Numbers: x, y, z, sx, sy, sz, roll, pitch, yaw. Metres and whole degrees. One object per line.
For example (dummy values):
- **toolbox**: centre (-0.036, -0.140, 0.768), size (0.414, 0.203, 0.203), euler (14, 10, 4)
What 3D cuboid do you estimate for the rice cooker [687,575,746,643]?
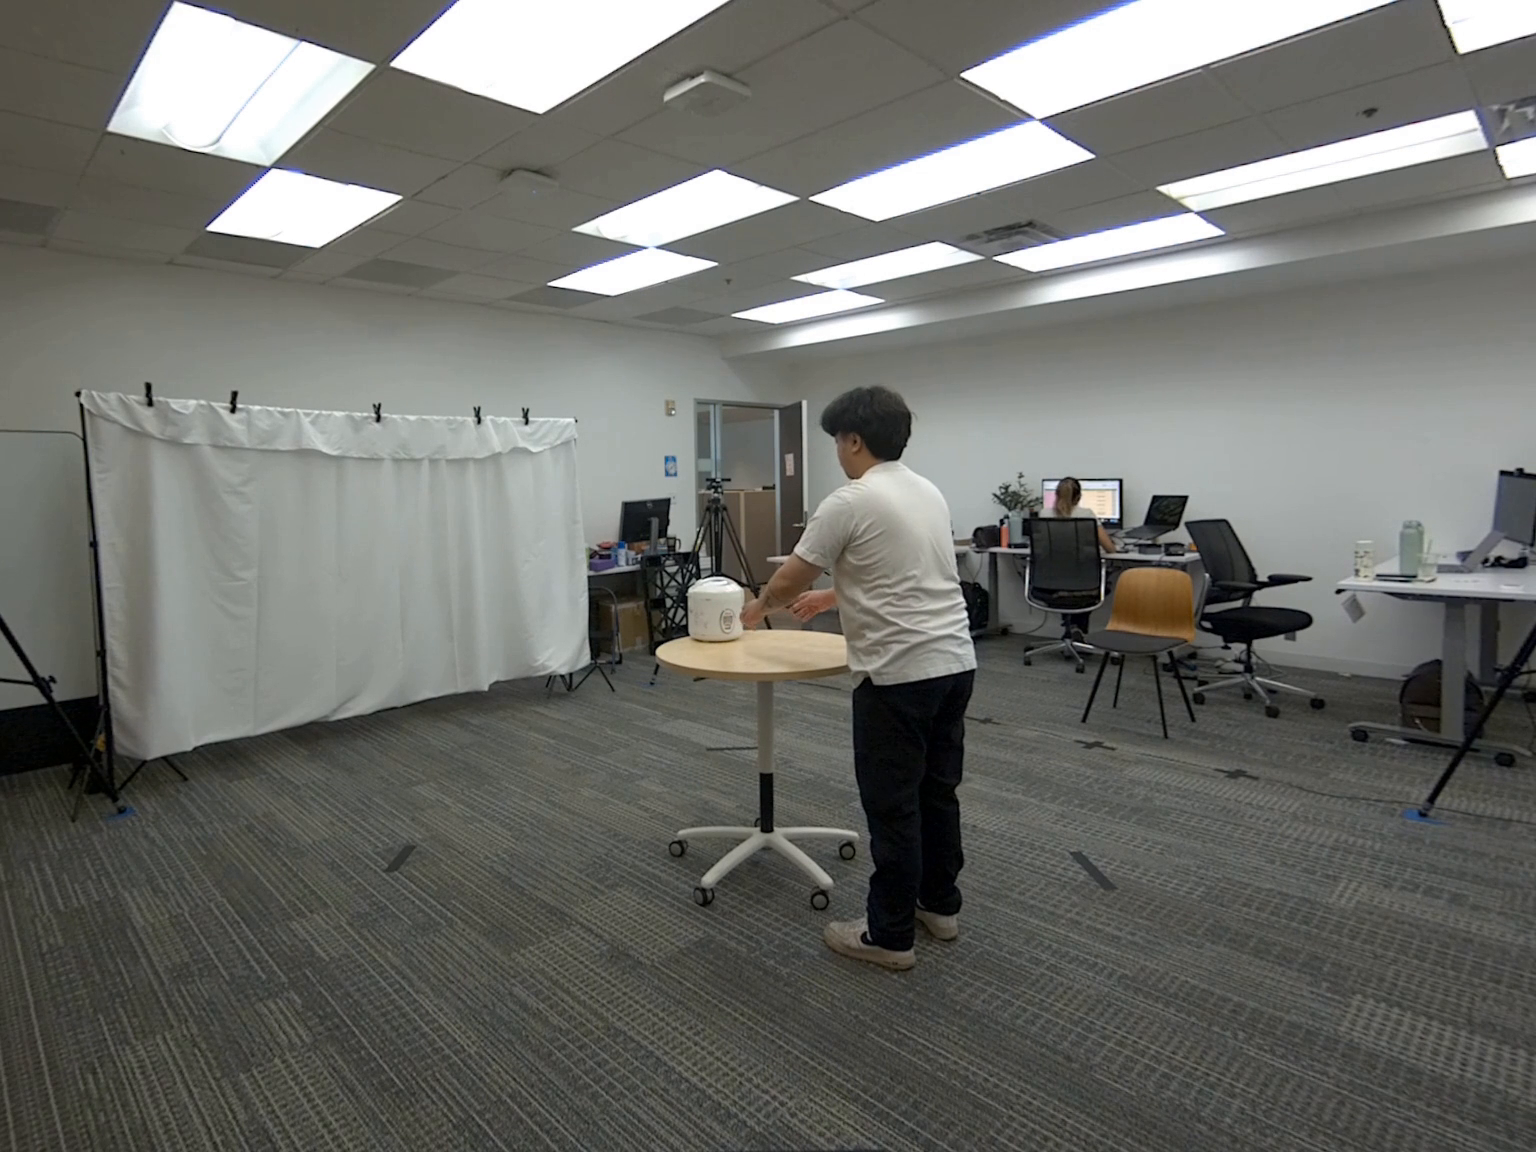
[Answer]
- **rice cooker**: centre (-0.192, 0.119, 3.214), size (0.216, 0.232, 0.222), euler (-4, 4, -26)
